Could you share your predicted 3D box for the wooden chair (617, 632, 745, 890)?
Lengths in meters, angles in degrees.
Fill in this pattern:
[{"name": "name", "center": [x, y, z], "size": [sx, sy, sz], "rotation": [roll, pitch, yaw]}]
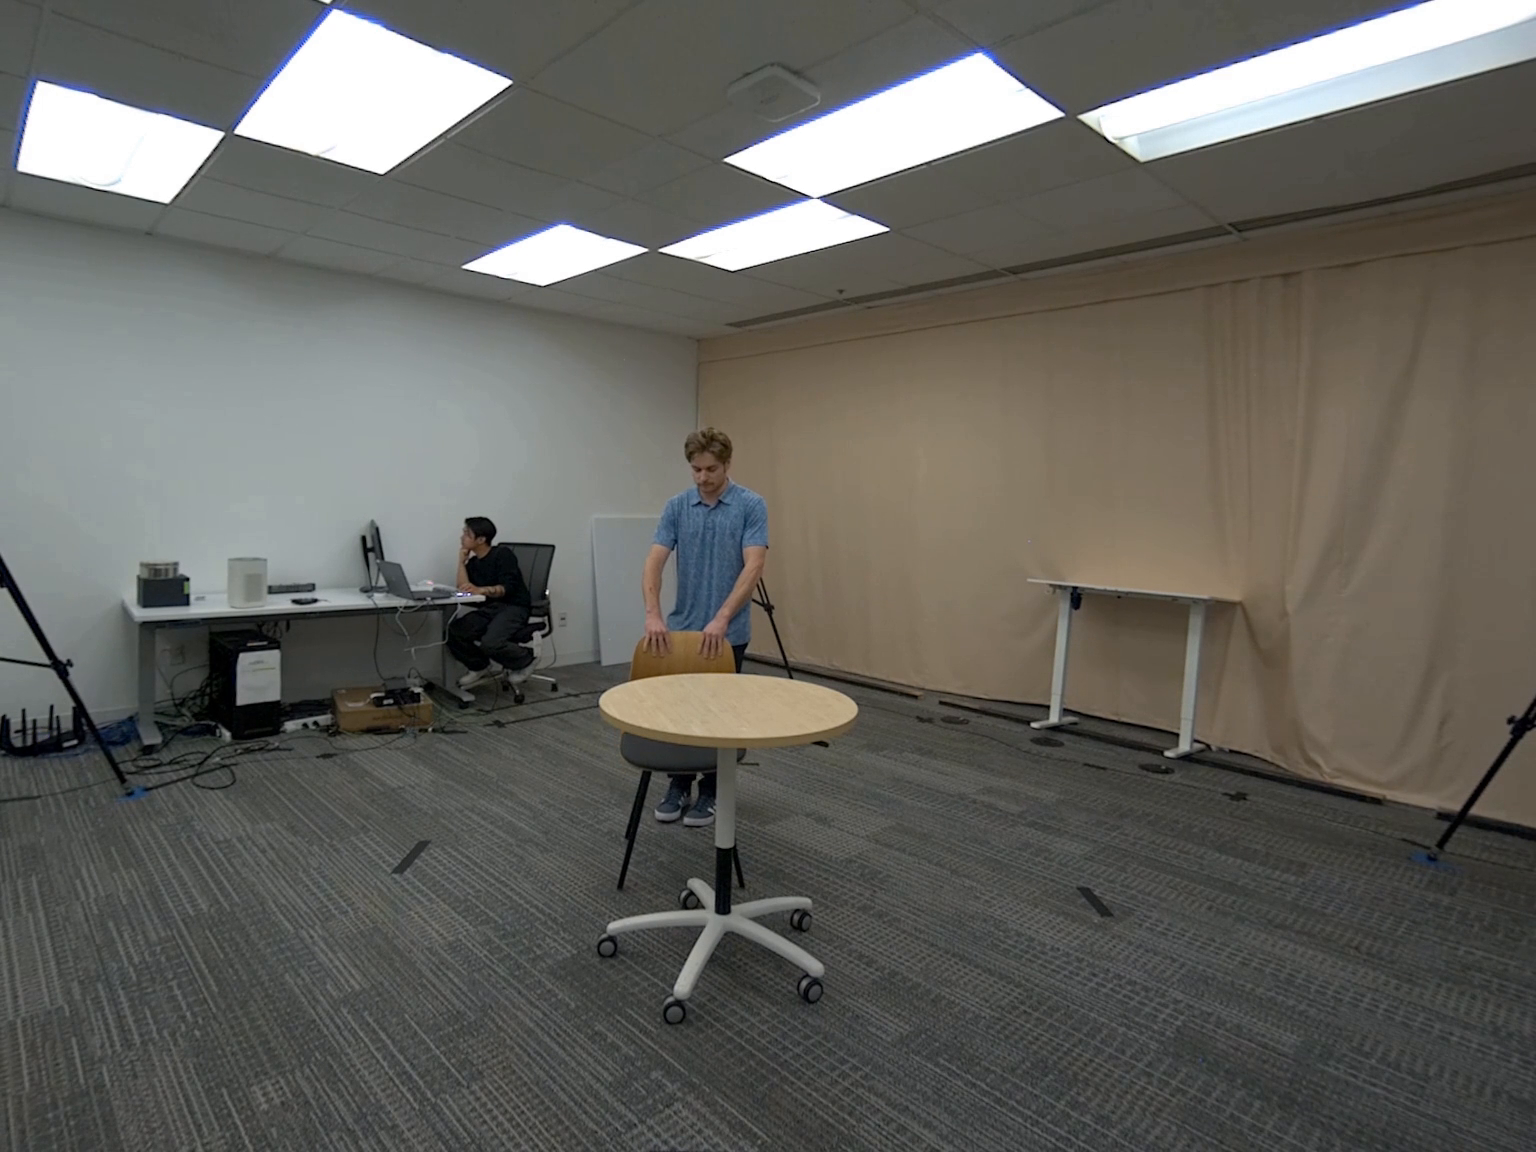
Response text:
[{"name": "wooden chair", "center": [-0.326, 0.667, 3.171], "size": [0.476, 0.878, 0.525], "rotation": [1, -1, -7]}]
